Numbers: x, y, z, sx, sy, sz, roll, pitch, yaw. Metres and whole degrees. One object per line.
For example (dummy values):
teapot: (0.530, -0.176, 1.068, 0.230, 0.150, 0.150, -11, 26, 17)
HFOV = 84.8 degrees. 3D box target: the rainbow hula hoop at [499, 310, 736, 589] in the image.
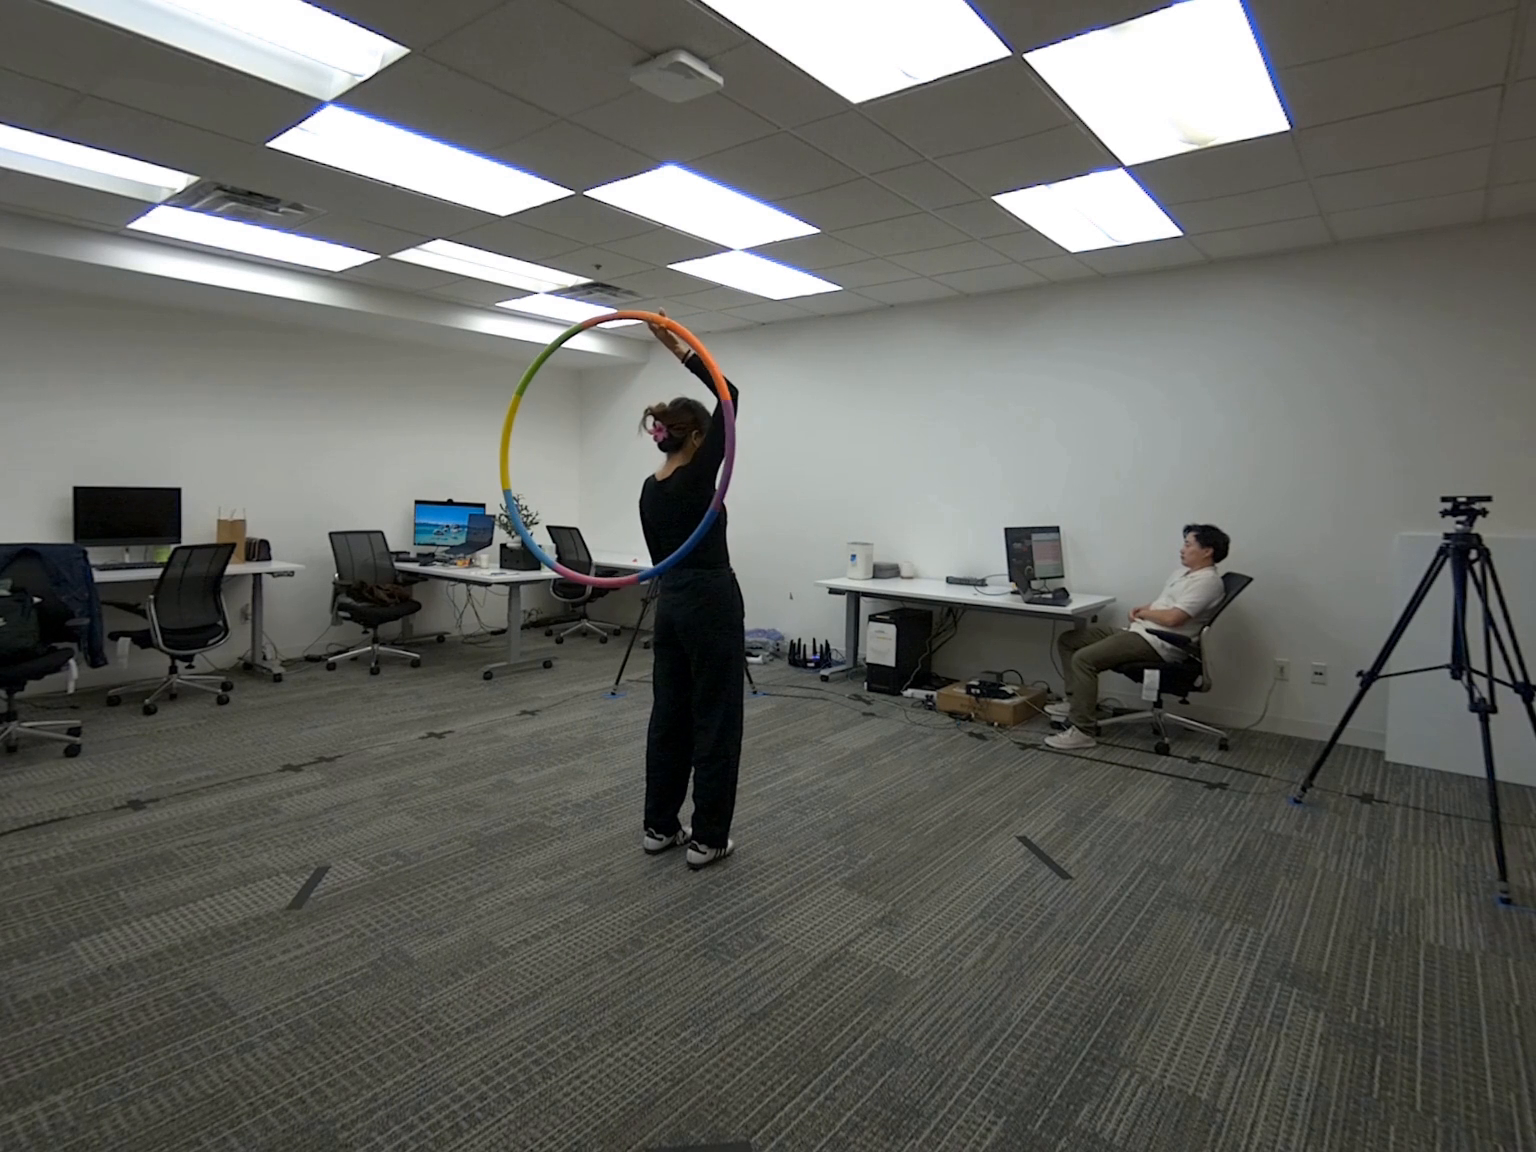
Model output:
rainbow hula hoop: (-0.557, -0.461, 3.045, 1.010, 0.987, 0.050, 3, -2, 25)
